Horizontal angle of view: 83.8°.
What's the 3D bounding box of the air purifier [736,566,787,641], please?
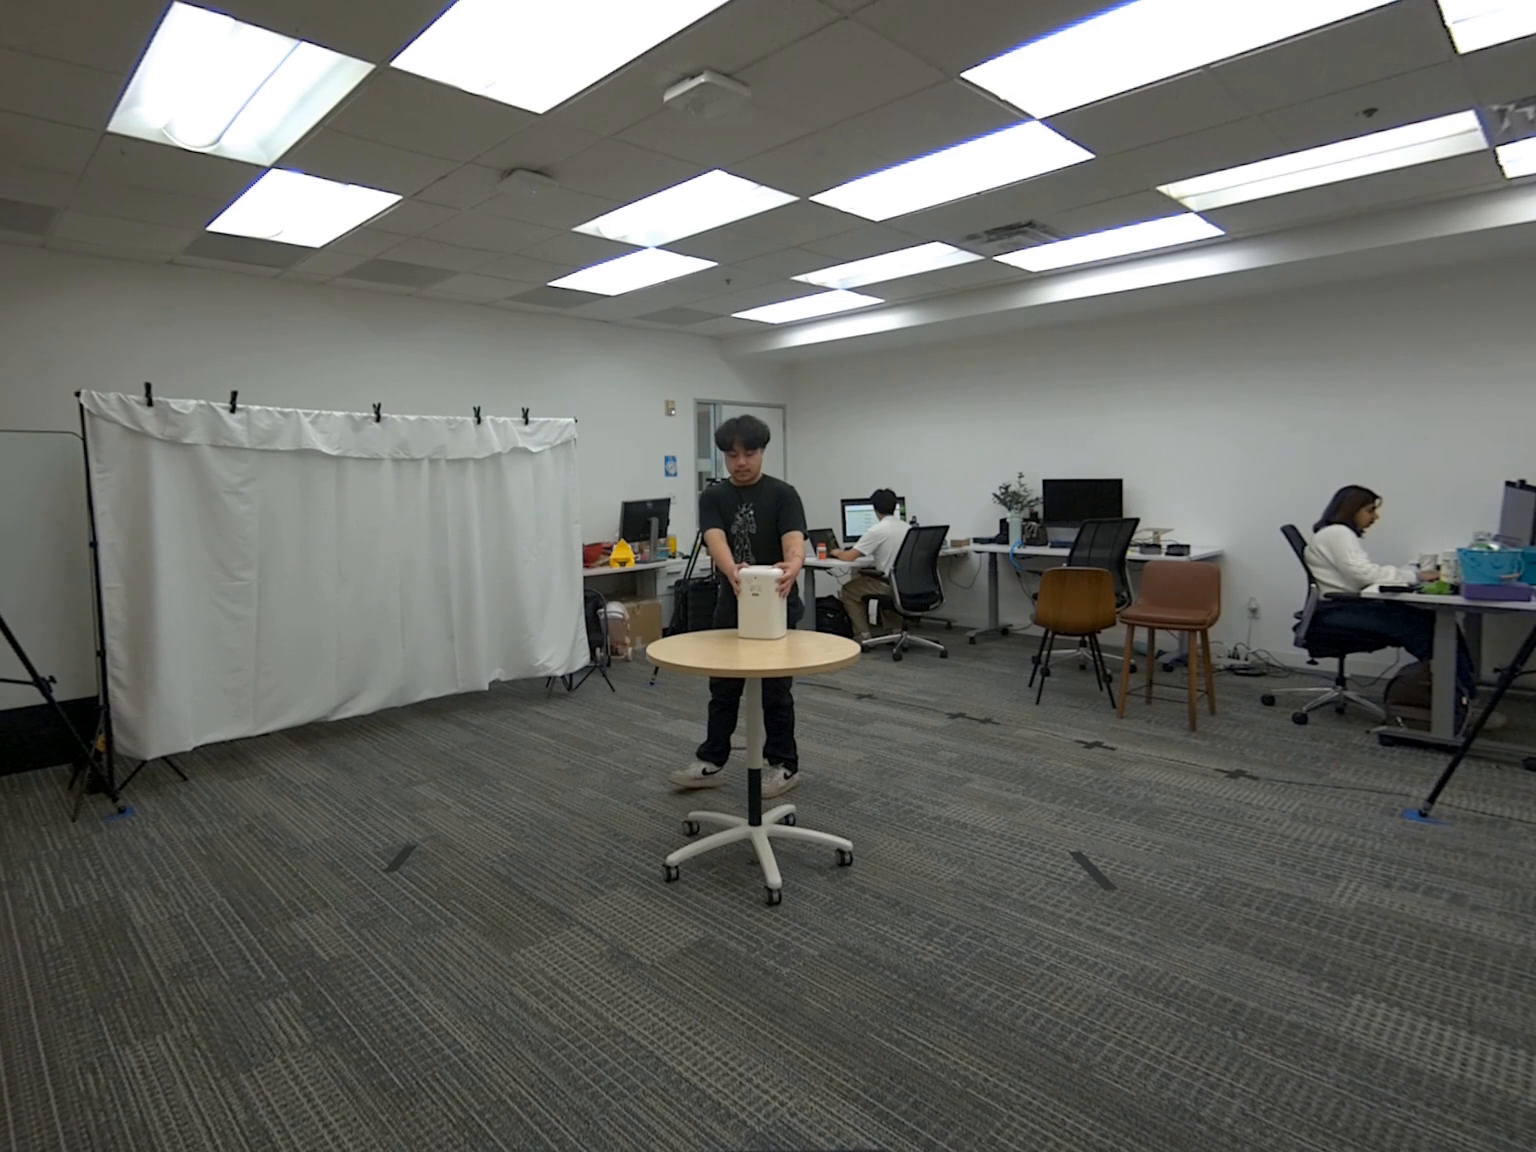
[{"bbox_3d":[-0.025,0.102,3.279,0.174,0.264,0.169,1,5,17],"label":"air purifier"}]
